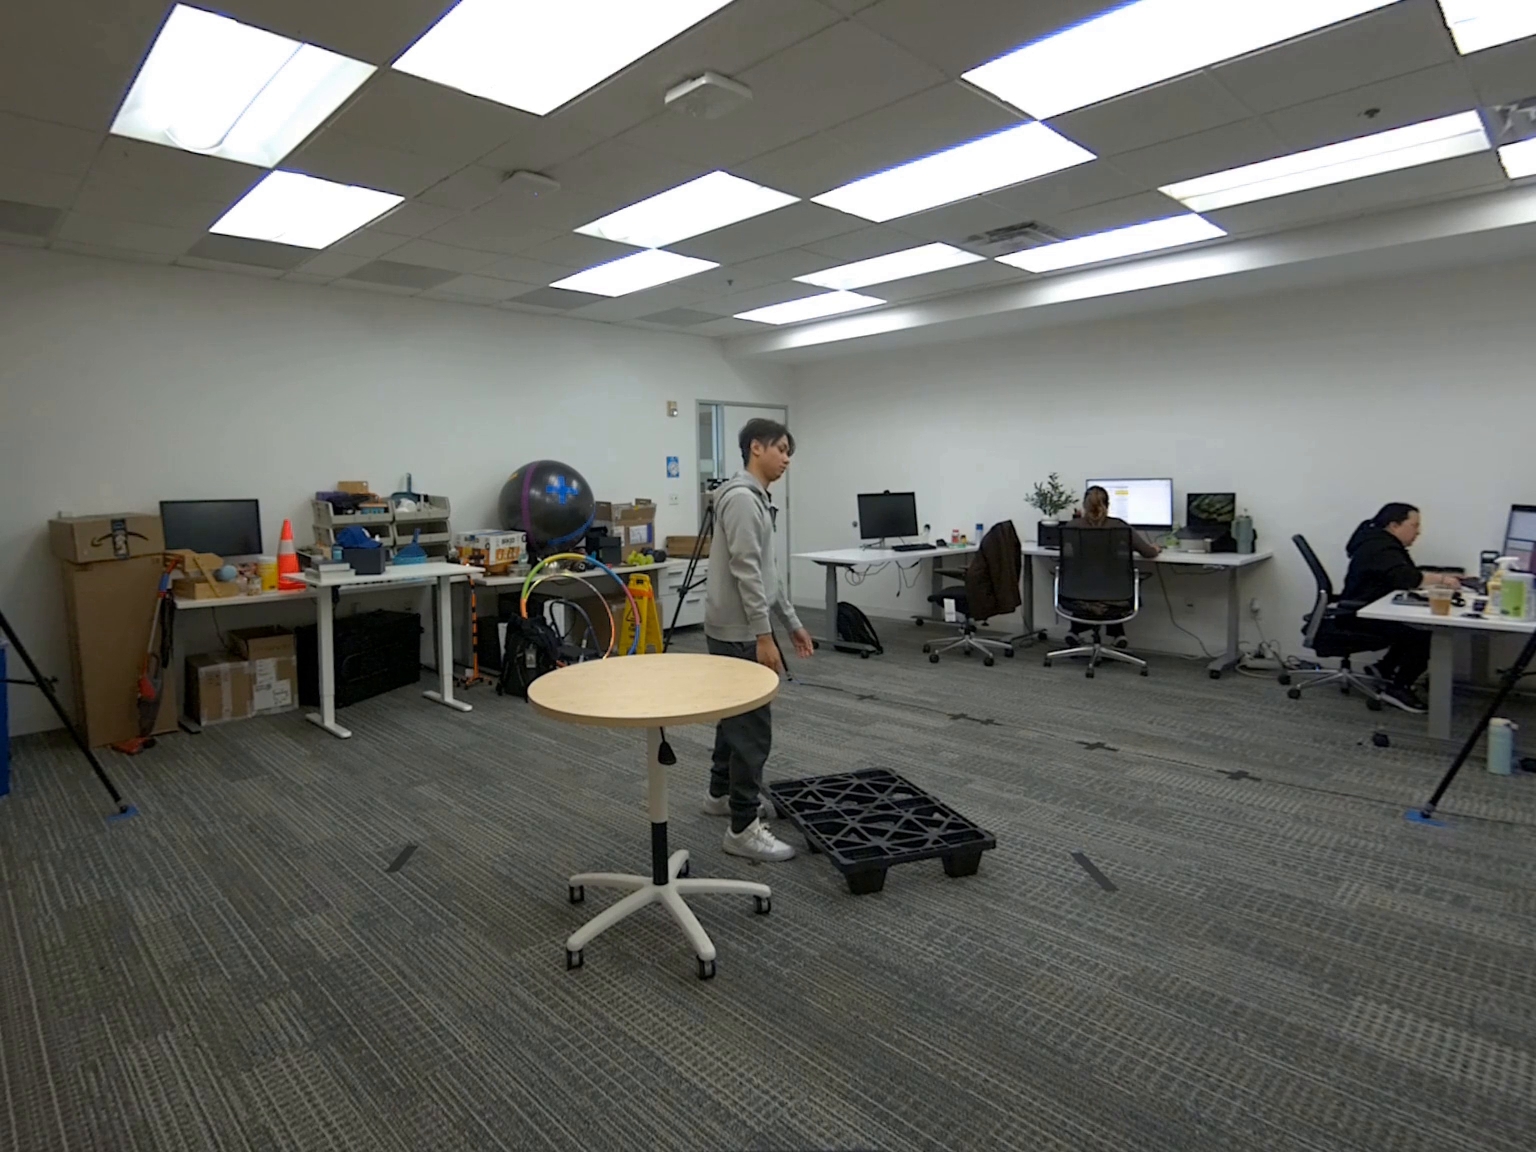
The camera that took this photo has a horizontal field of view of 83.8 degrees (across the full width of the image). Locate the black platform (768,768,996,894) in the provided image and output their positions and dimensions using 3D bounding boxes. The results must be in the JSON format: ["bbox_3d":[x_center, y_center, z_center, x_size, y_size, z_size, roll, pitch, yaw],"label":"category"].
[{"bbox_3d":[0.386,0.955,3.259,0.595,0.142,0.823,-4,7,-19],"label":"black platform"}]
